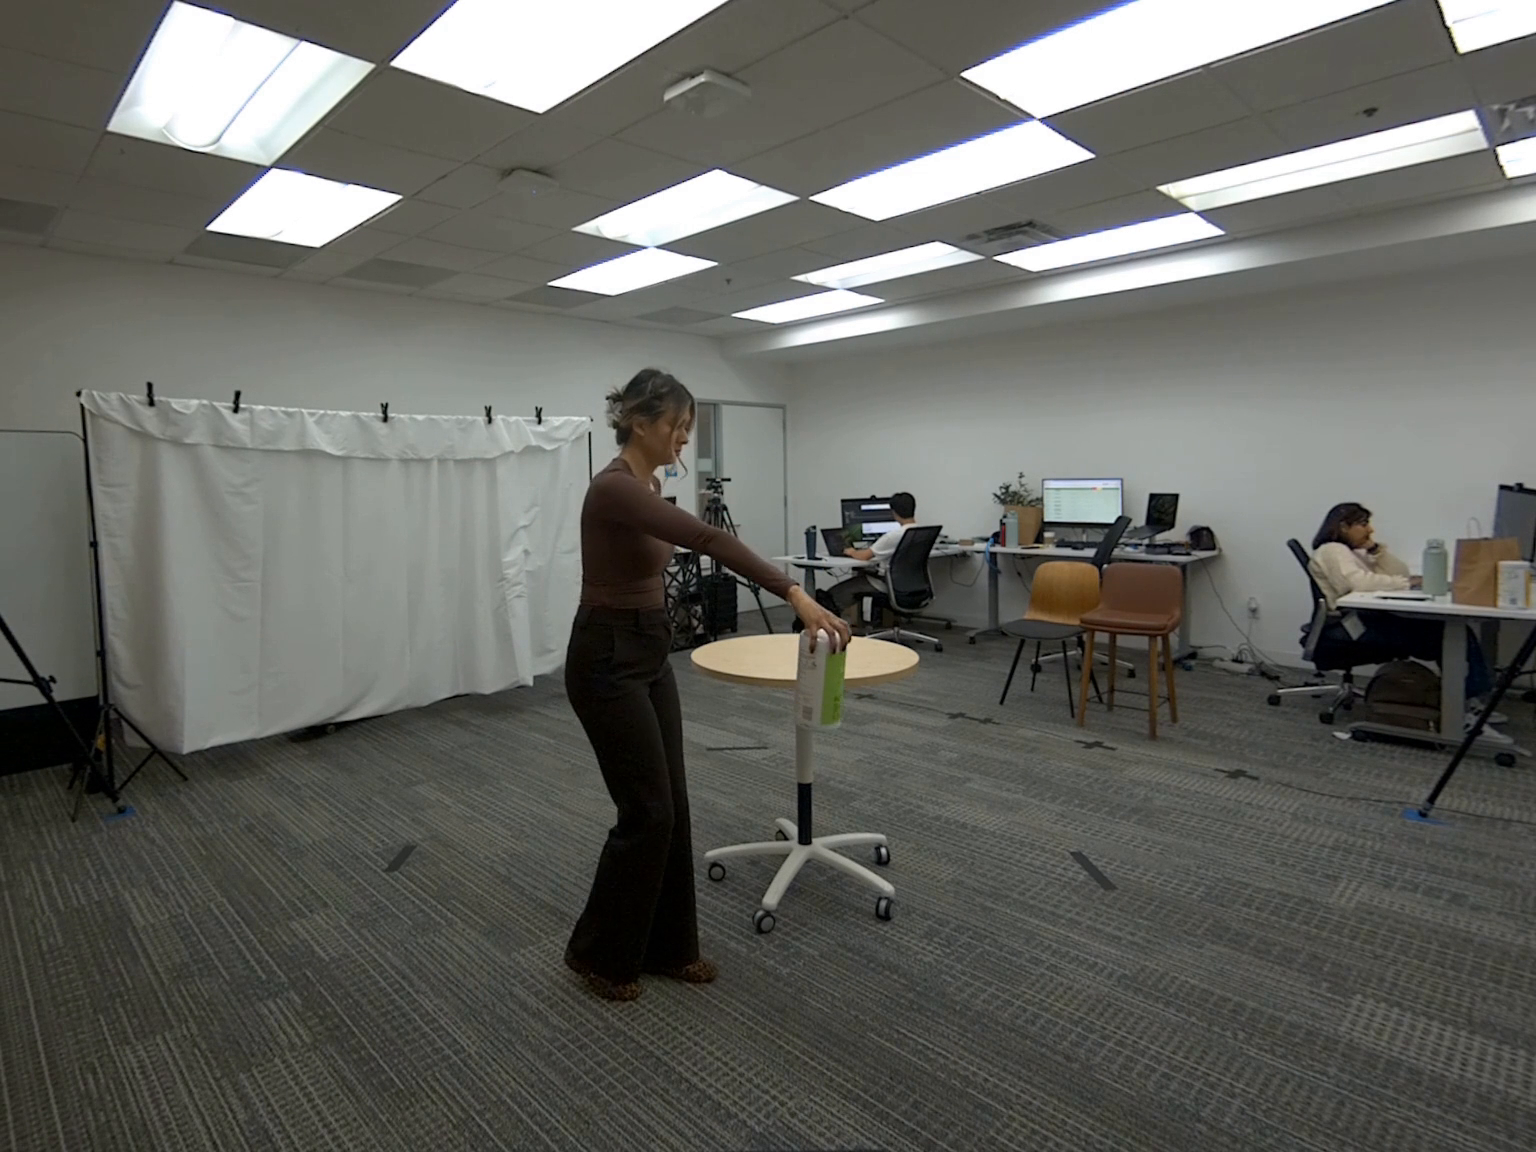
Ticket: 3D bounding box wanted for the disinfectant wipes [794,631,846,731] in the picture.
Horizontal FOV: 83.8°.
[{"bbox_3d":[0.130,0.235,1.939,0.117,0.216,0.118,2,6,-2],"label":"disinfectant wipes"}]
